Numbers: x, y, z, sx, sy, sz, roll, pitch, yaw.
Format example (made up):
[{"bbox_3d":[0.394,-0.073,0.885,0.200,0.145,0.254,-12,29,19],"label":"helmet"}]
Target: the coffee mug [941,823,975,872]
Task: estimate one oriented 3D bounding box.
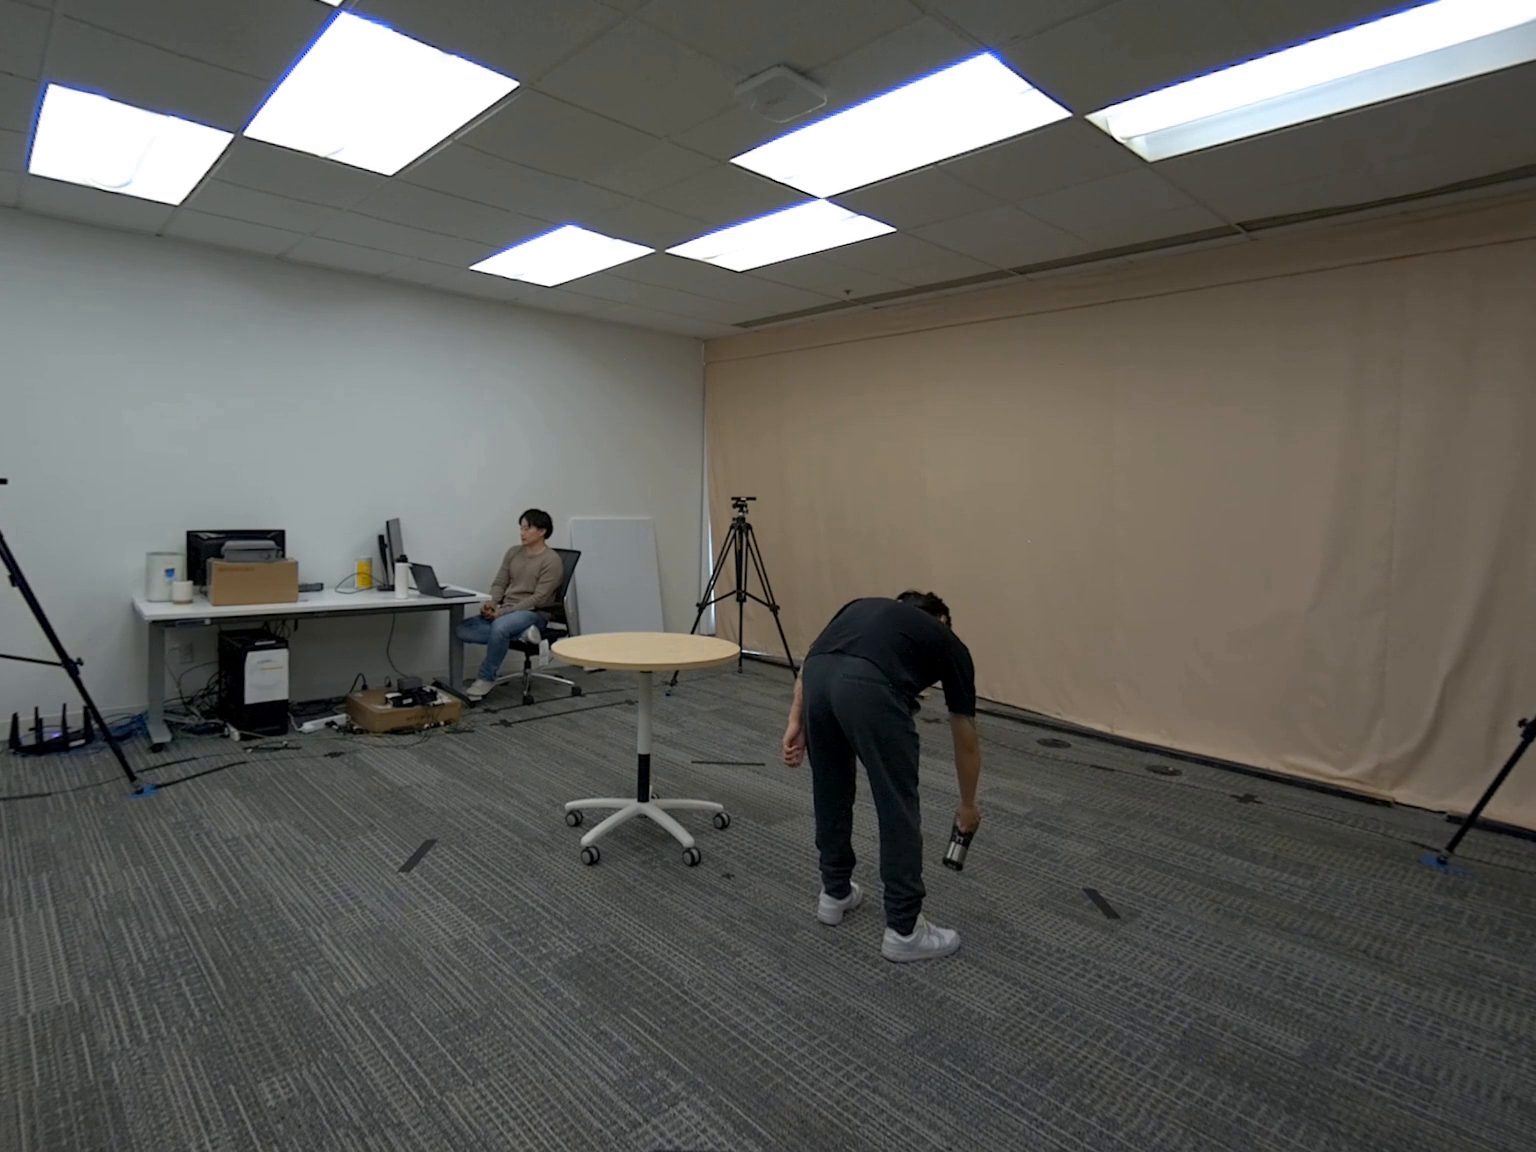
[{"bbox_3d":[0.669,0.921,2.959,0.090,0.204,0.118,11,-35,35],"label":"coffee mug"}]
